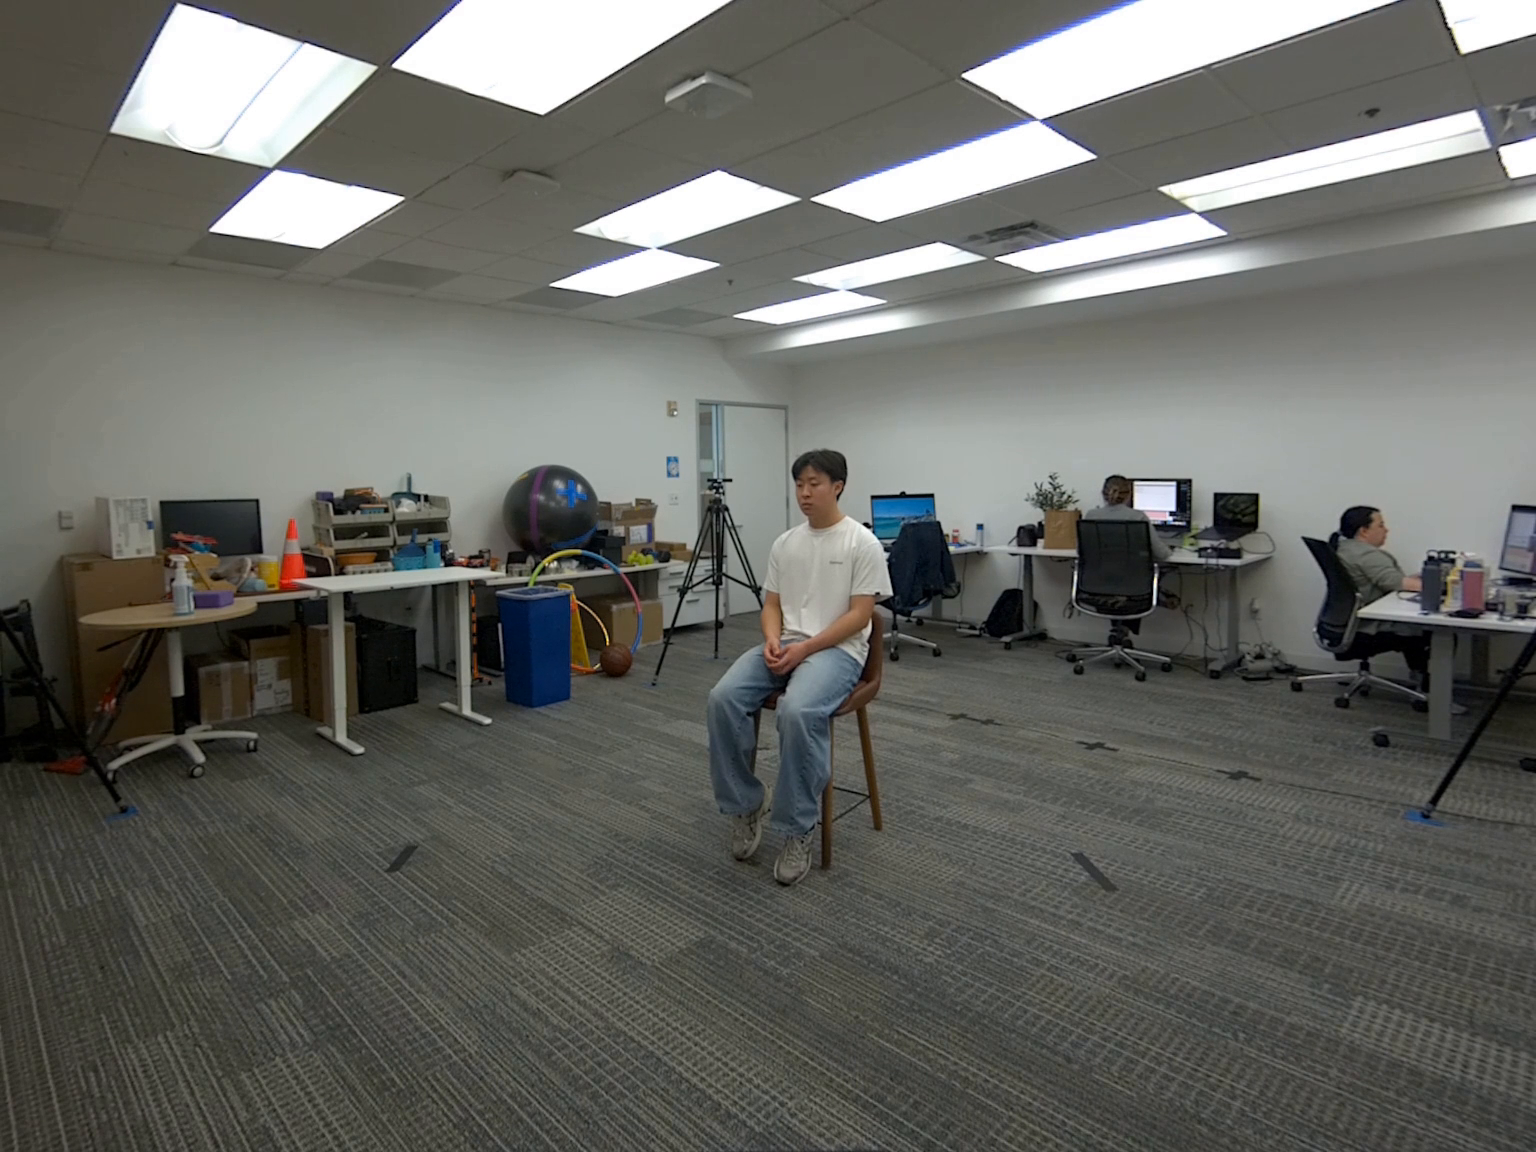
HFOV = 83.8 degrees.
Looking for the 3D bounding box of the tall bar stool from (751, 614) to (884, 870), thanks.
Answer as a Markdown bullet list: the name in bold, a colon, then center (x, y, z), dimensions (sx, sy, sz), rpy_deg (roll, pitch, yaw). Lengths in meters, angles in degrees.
- **tall bar stool**: center (0.187, 0.582, 3.324), dimensions (0.470, 0.888, 0.455), rpy_deg (4, 3, 36)
